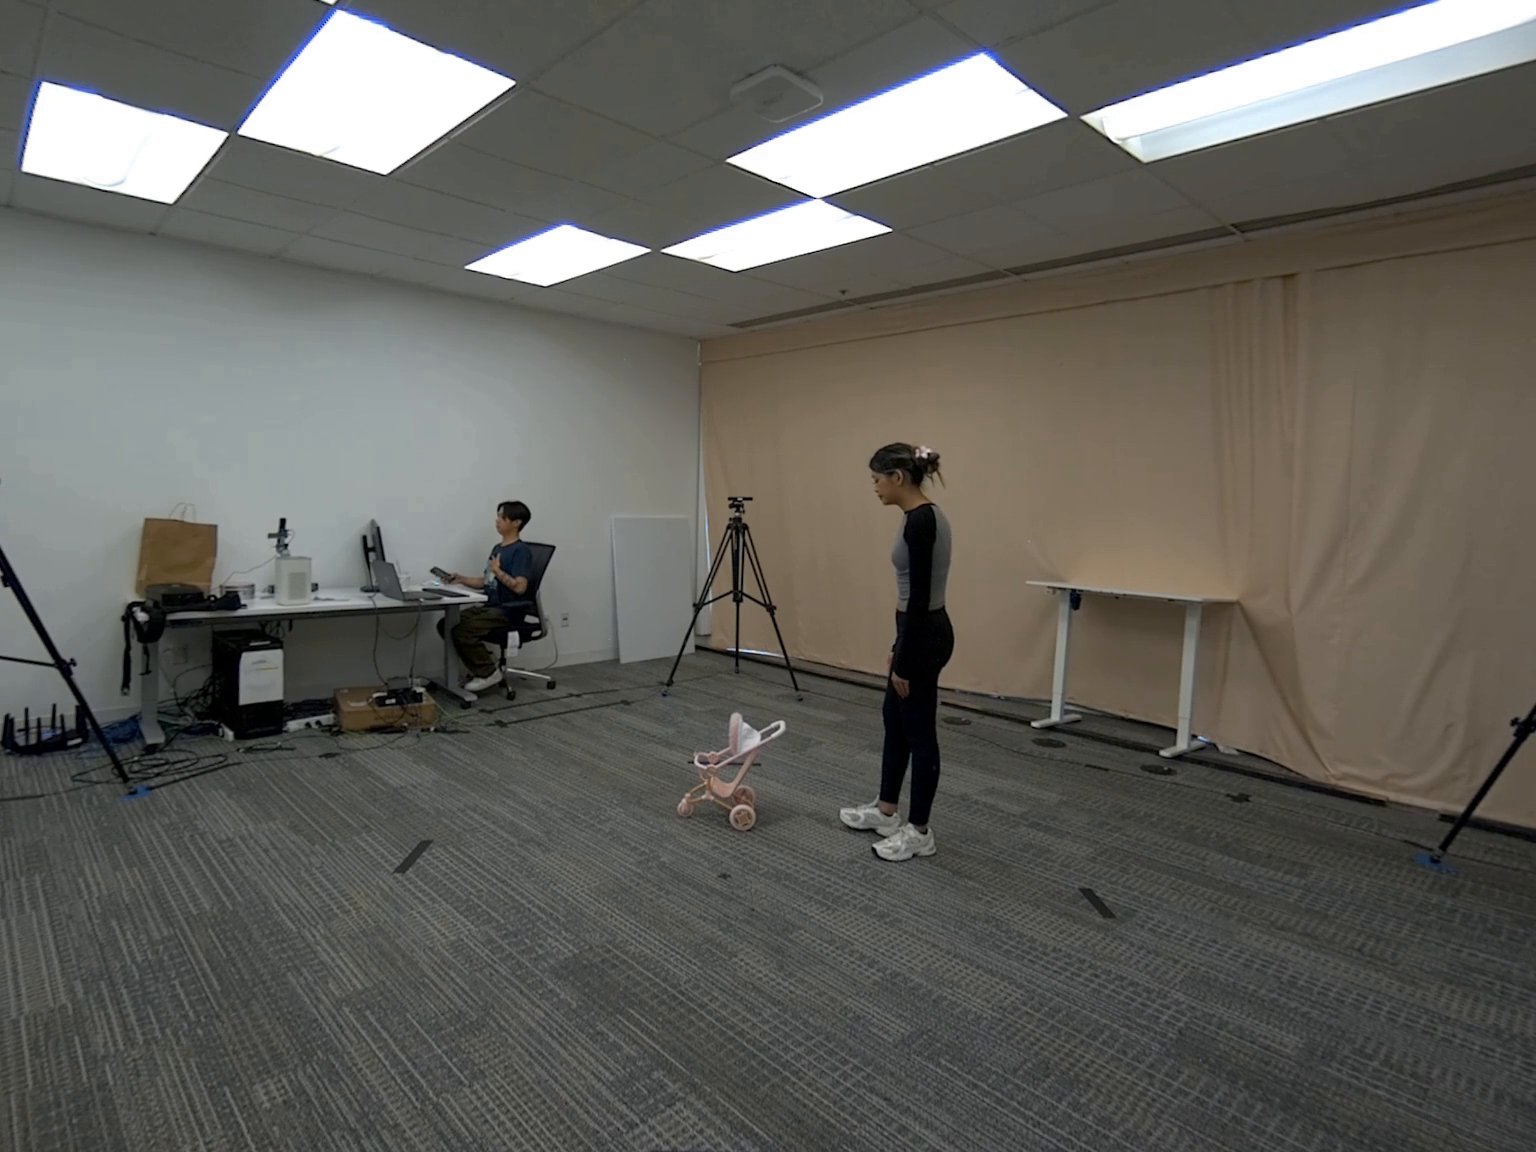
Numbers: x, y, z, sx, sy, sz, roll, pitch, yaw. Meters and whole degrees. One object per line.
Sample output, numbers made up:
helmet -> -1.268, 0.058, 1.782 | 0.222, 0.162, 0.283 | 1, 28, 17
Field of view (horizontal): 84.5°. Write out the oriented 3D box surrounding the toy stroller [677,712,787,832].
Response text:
toy stroller -> -0.175, 0.837, 3.667 | 0.343, 0.534, 0.280 | 18, 4, 5
